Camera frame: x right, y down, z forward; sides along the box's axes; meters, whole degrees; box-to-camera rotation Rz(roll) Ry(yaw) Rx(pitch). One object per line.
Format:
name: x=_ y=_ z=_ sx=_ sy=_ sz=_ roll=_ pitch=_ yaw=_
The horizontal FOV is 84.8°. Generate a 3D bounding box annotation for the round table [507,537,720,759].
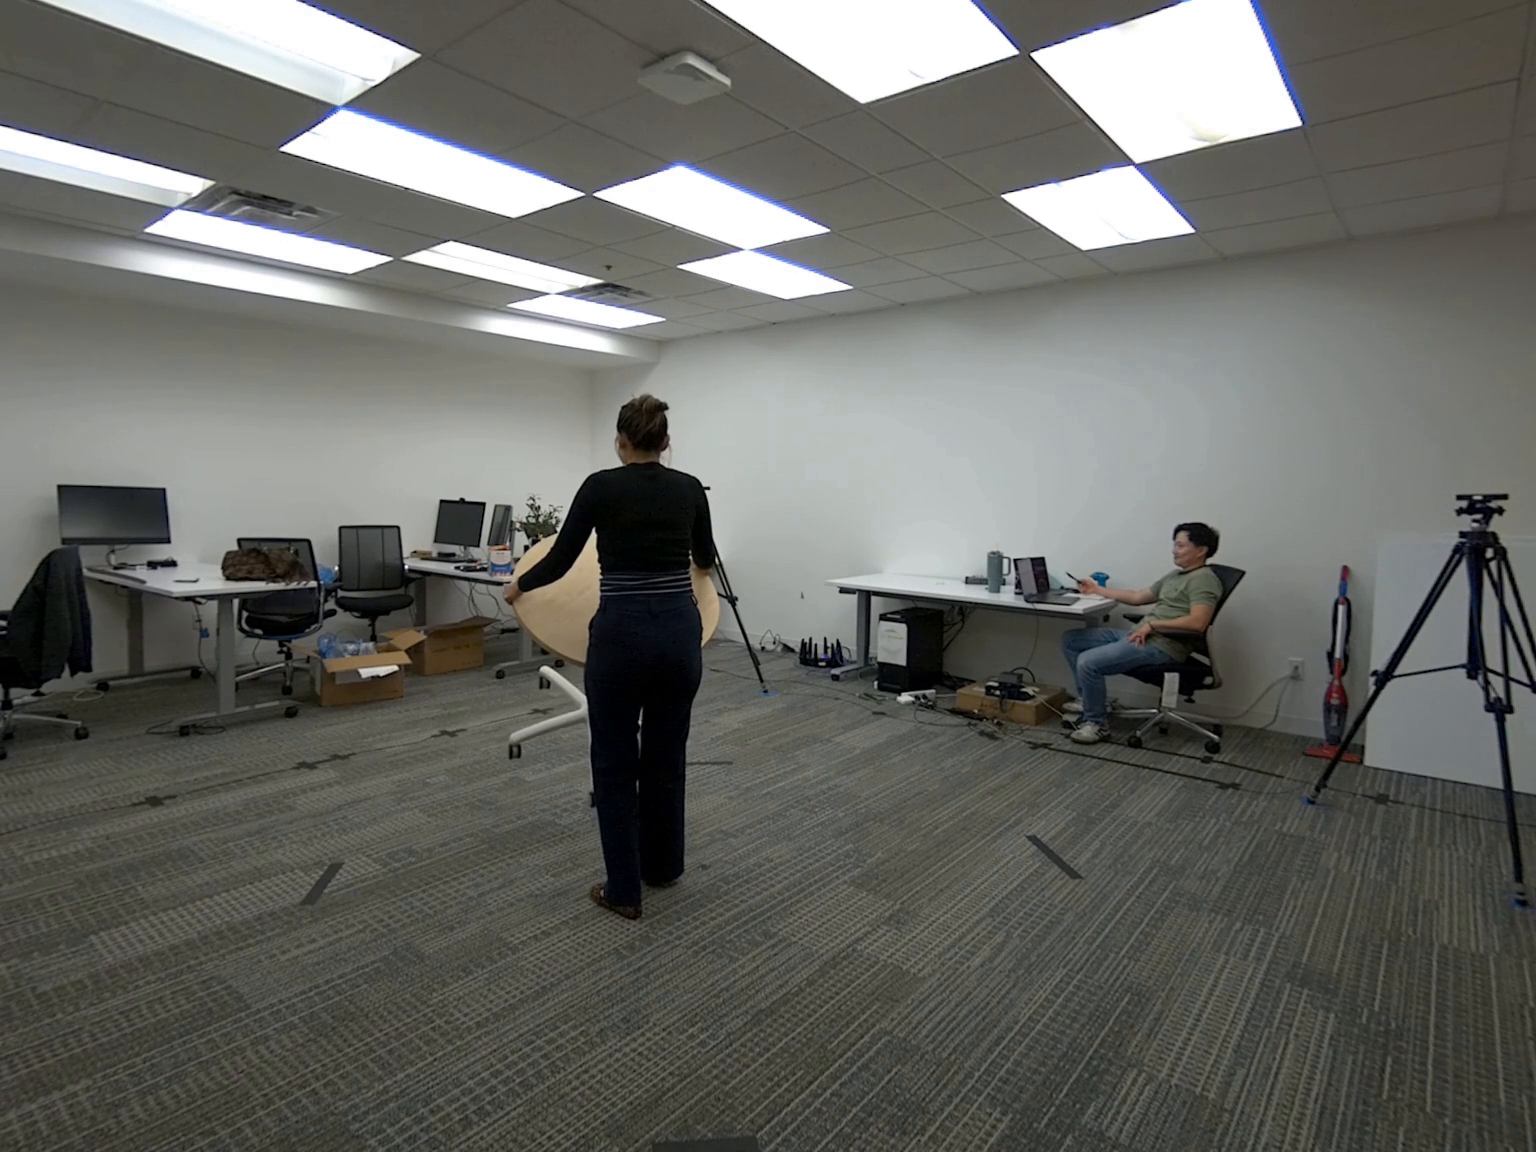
round table: x=-0.663 y=0.354 z=3.354 sx=0.756 sy=0.780 sz=0.786 roll=10 pitch=36 yaw=-9
